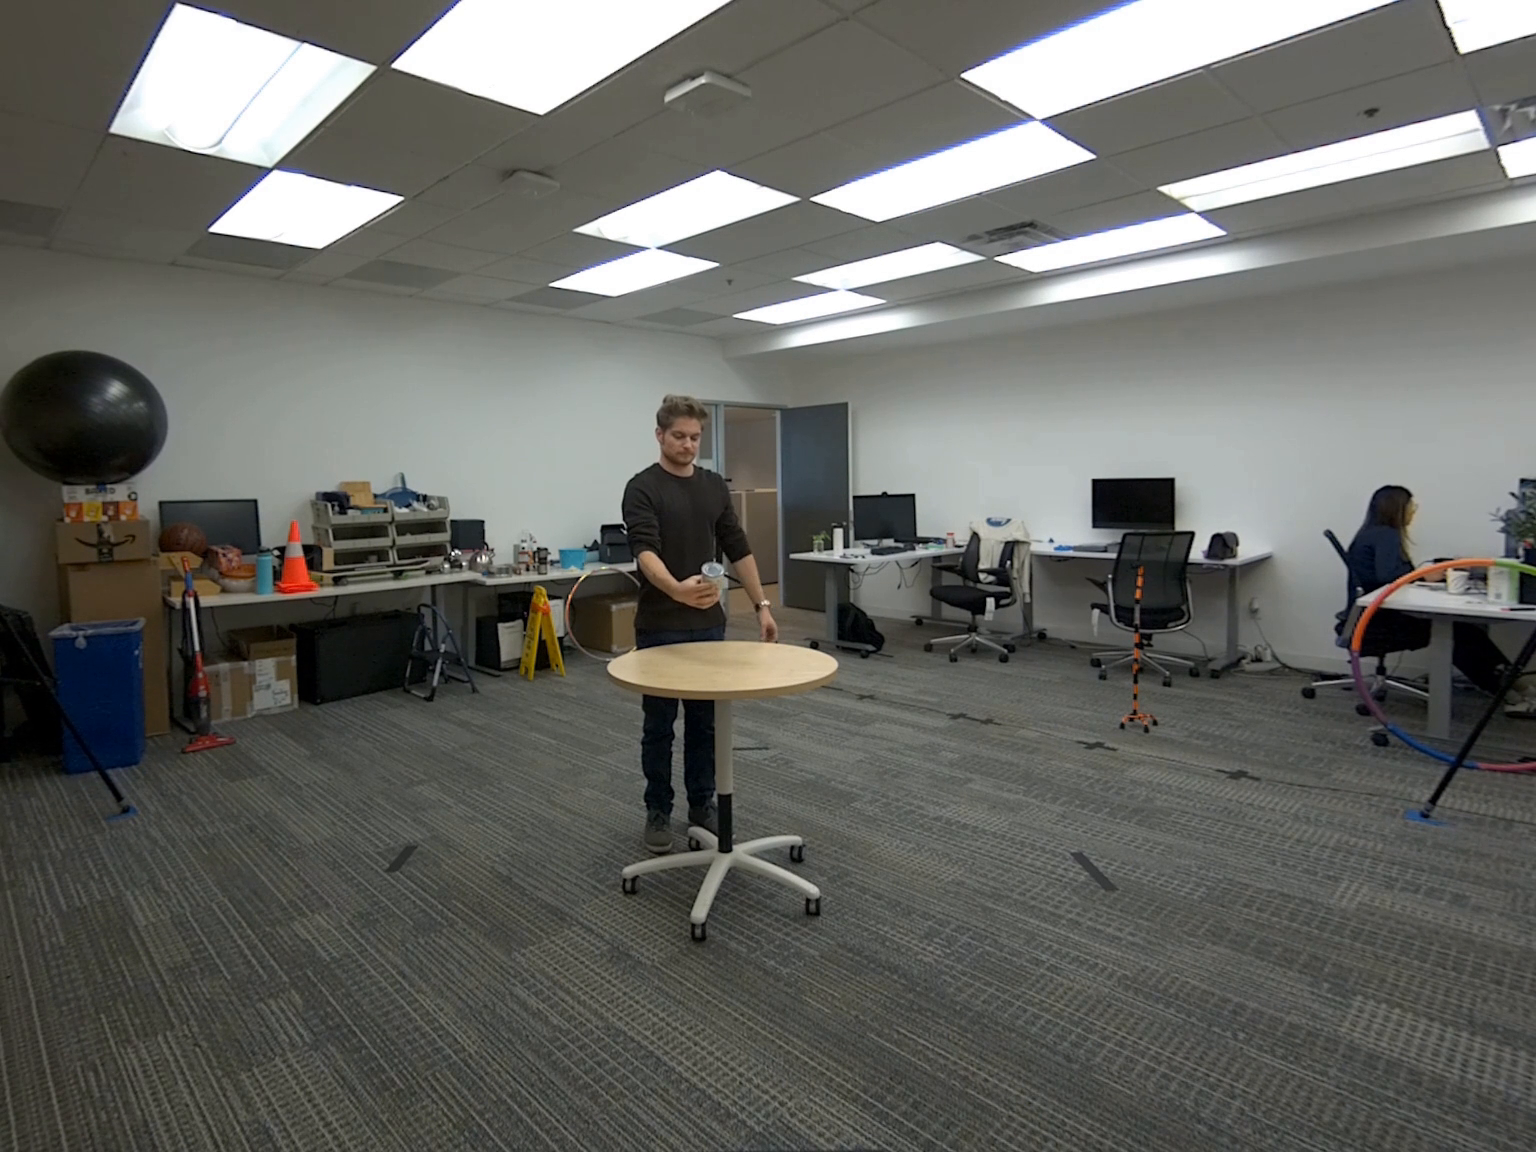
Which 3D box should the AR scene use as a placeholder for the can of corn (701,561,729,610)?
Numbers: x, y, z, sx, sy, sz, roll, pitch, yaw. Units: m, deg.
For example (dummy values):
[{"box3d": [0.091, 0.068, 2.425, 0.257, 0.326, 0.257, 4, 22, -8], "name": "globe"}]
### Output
[{"box3d": [-0.187, 0.019, 2.819, 0.074, 0.108, 0.076, 2, 38, -4], "name": "can of corn"}]
